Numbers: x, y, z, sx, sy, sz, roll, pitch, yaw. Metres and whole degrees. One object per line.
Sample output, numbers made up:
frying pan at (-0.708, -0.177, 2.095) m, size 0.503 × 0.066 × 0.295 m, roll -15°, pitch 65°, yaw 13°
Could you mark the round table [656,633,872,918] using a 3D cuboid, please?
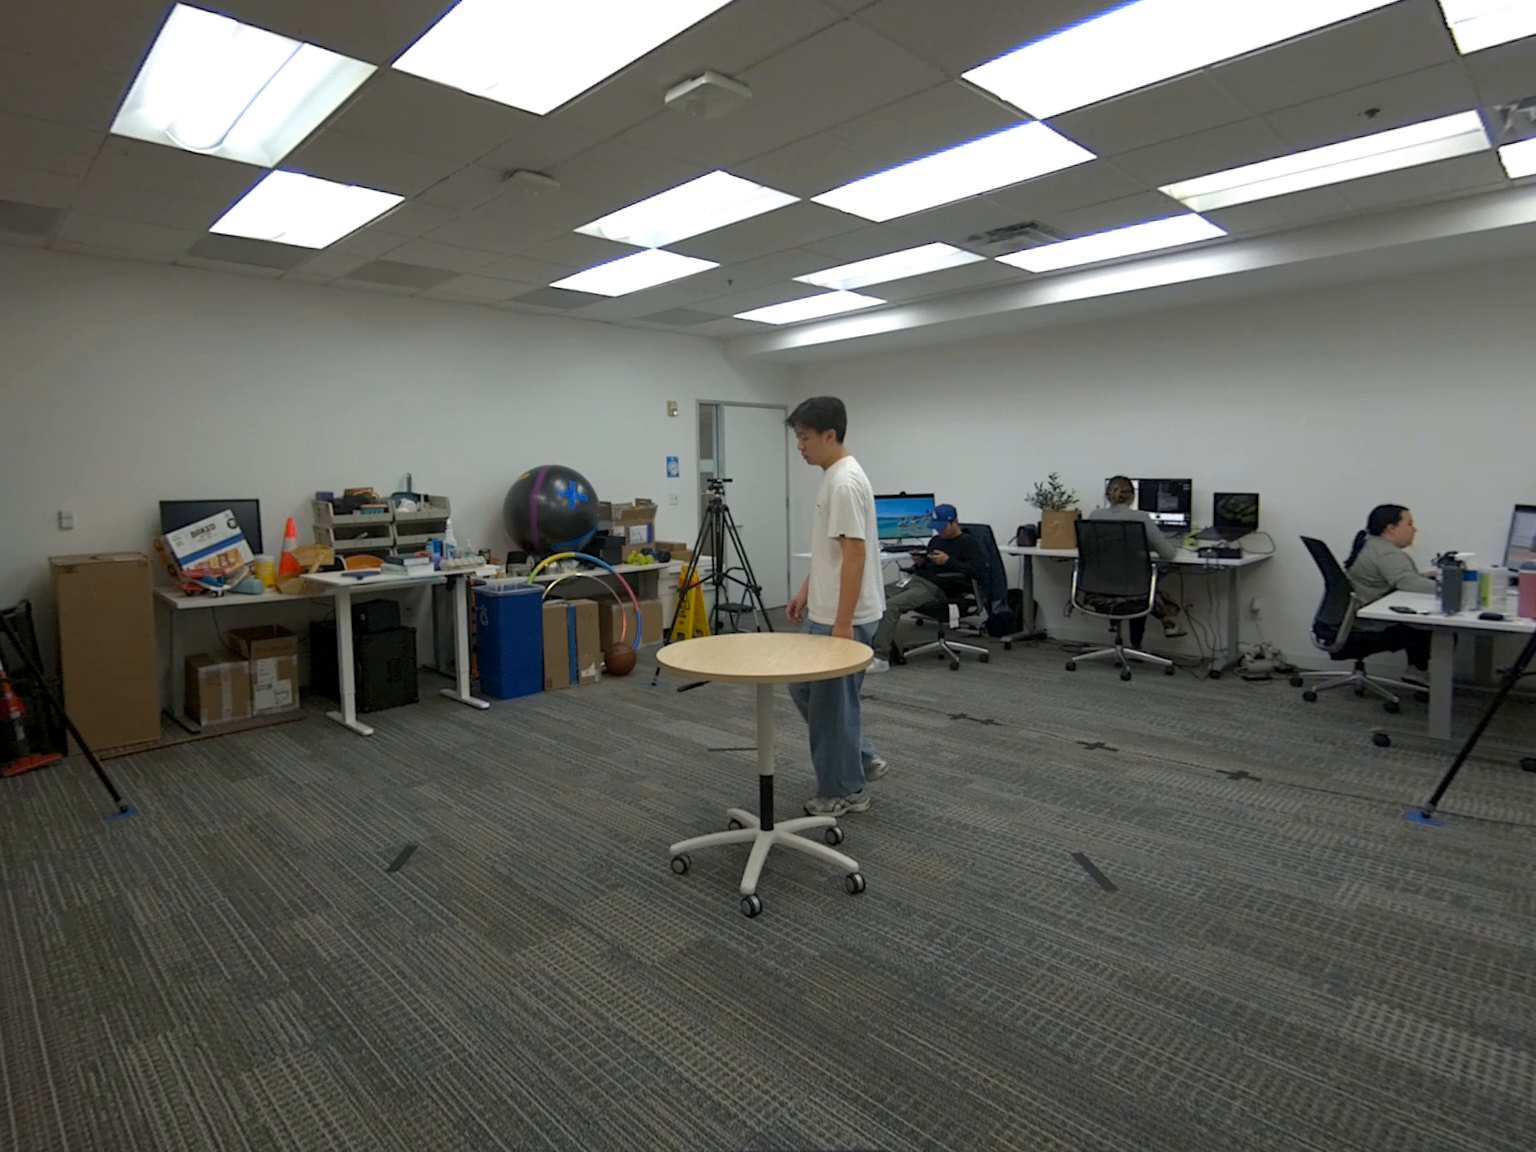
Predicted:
round table at (-0.009, 0.660, 3.054) m, size 0.763 × 0.791 × 0.768 m, roll -1°, pitch 5°, yaw -2°
